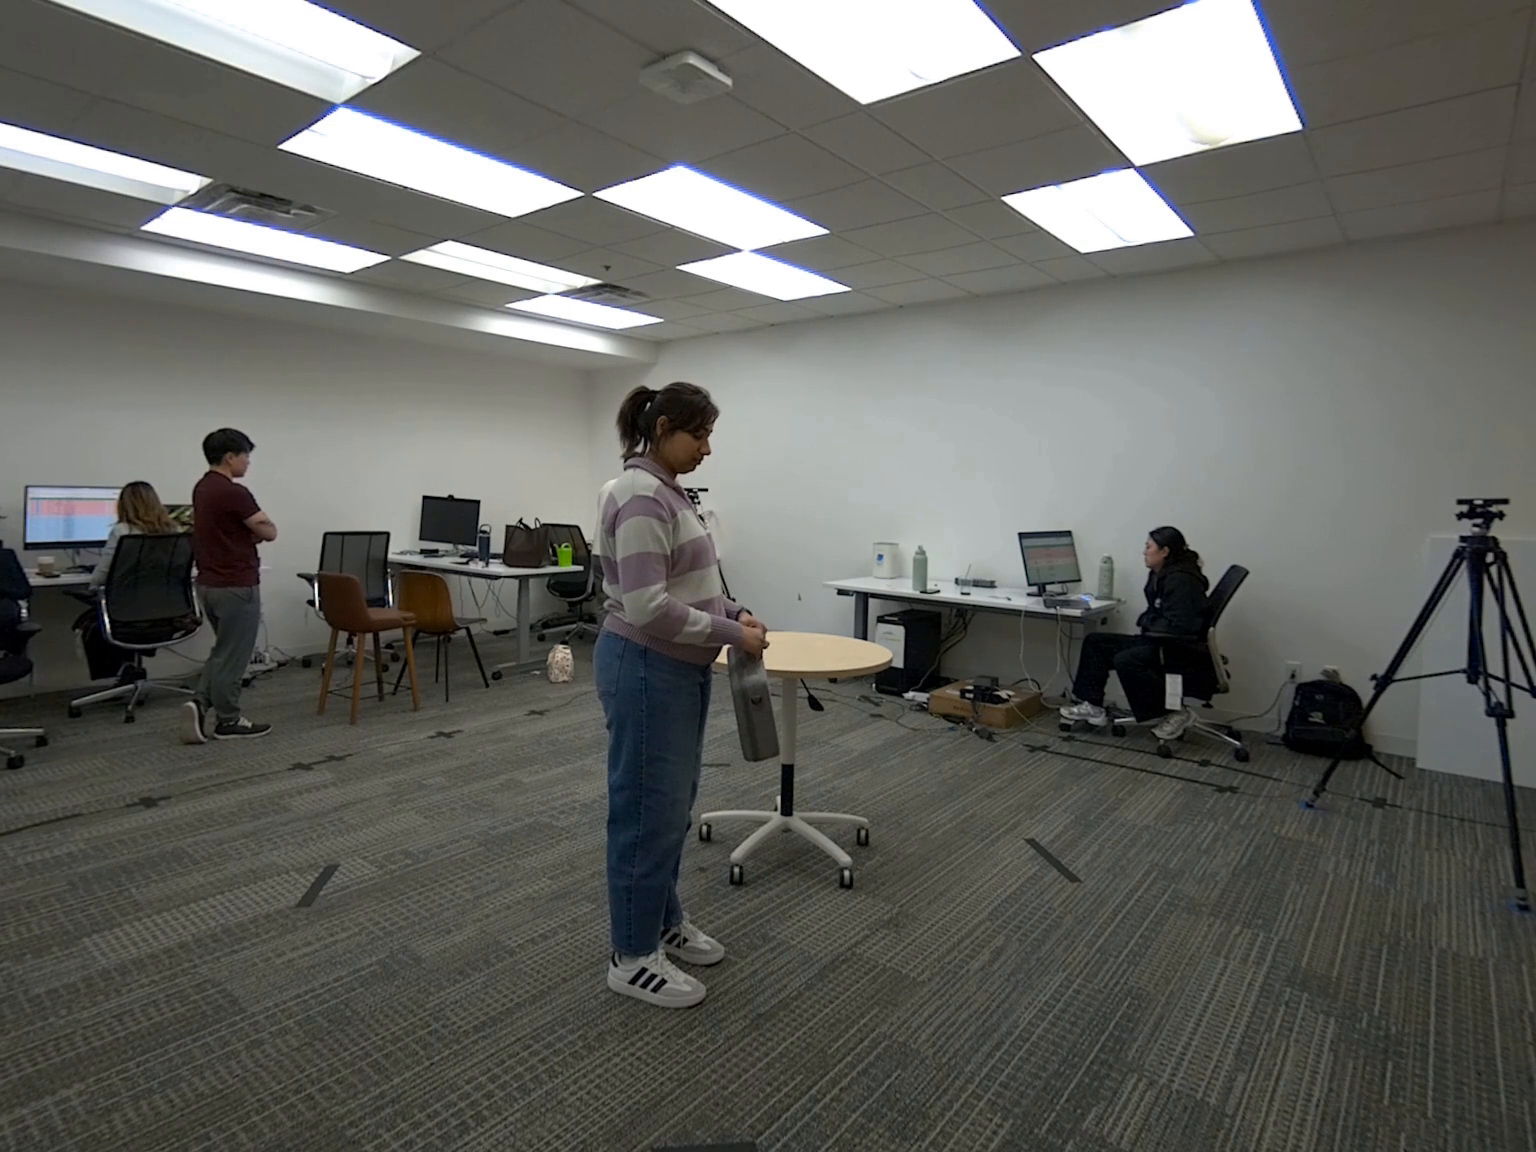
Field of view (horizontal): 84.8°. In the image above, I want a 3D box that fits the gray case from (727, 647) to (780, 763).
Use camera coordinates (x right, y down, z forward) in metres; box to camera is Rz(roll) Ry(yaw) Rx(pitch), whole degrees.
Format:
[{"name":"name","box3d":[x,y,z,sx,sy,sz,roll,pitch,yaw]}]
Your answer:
[{"name":"gray case","box3d":[-0.048,0.331,2.357,0.104,0.256,0.262,-9,16,-5]}]
